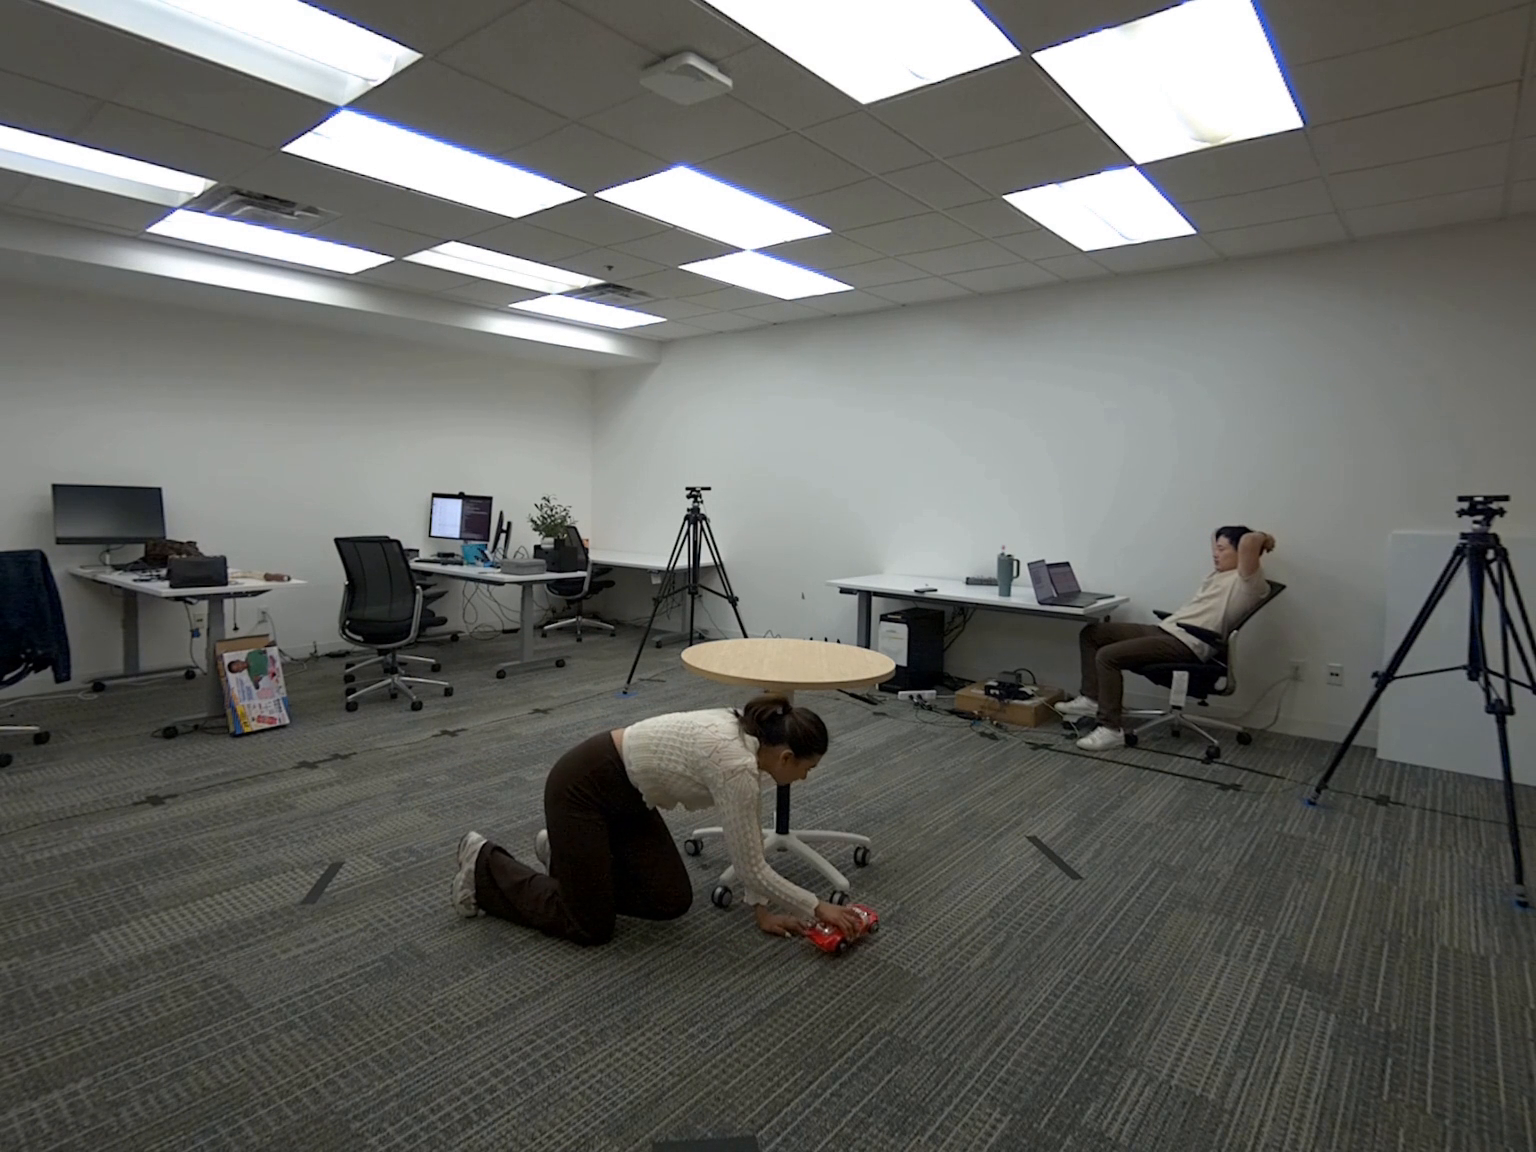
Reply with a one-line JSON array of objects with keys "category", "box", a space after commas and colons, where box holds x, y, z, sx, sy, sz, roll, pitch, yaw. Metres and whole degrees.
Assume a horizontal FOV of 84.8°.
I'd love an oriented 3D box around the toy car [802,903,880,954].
[{"category": "toy car", "box": [0.211, 1.086, 2.580, 0.246, 0.083, 0.135, 1, 8, -41]}]
